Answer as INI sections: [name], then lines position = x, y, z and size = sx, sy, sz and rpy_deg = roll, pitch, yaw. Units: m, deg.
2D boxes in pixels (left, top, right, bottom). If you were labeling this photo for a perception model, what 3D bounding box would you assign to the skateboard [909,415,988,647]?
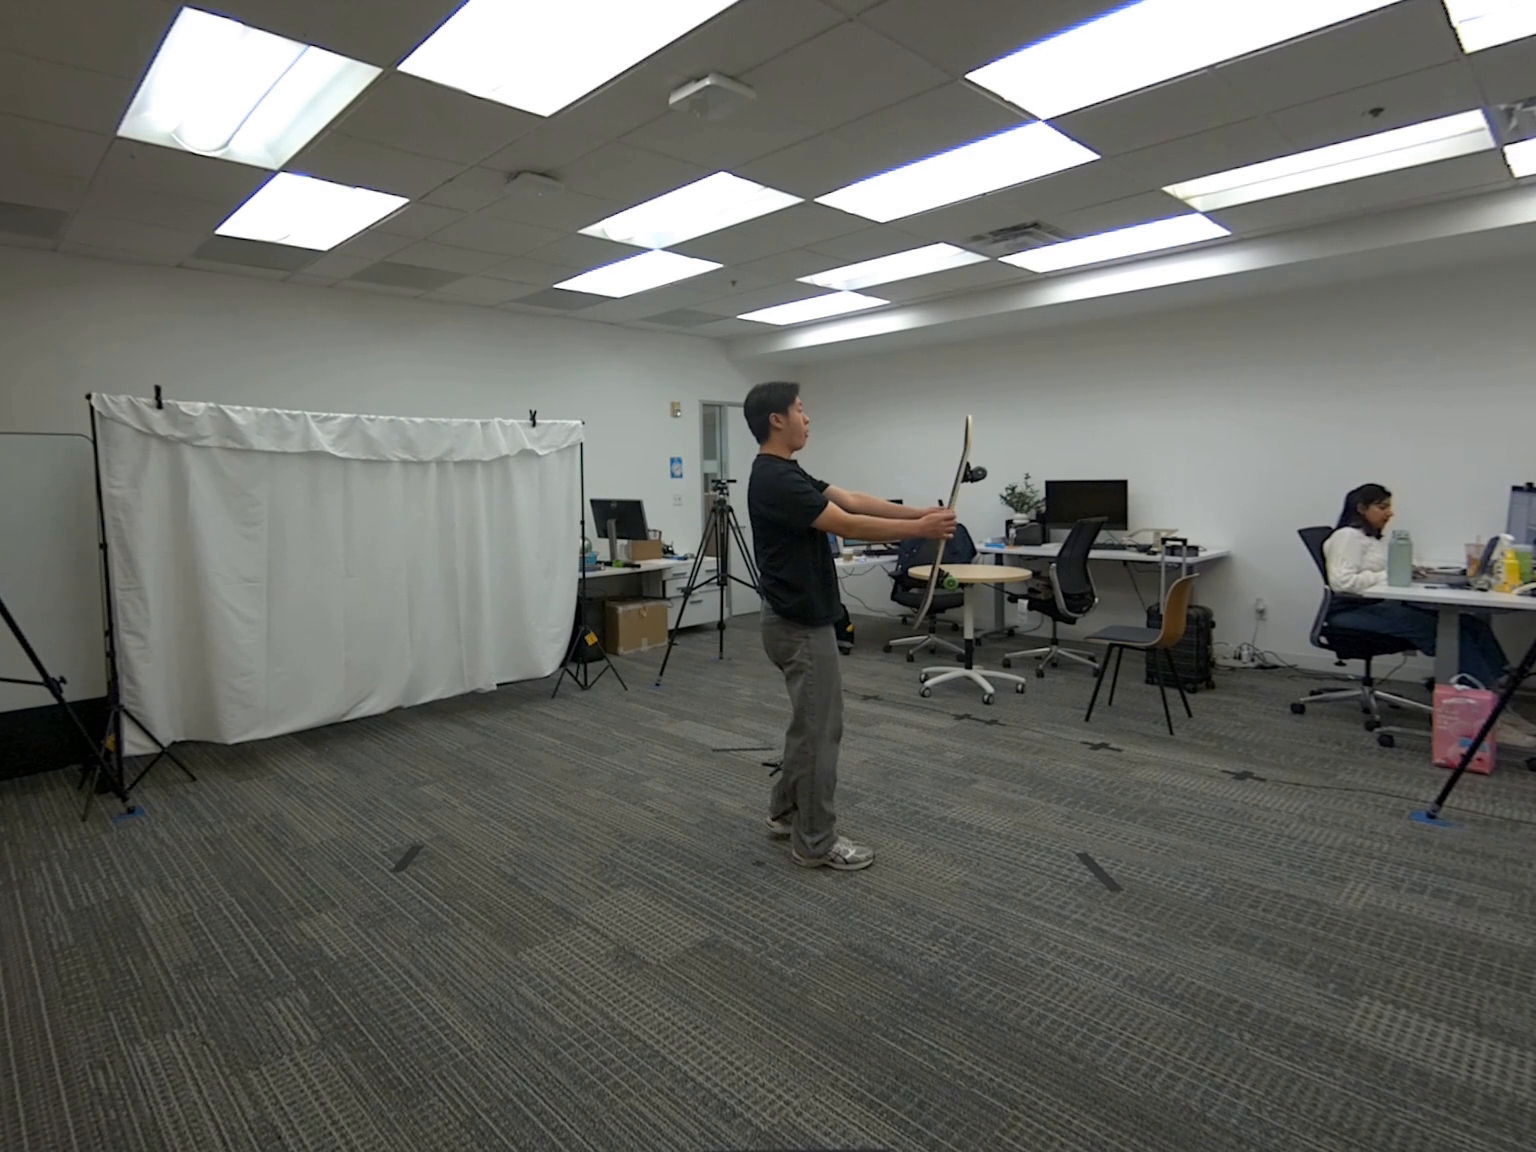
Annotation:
[skateboard]
position = 0.667, -0.172, 3.068
size = 0.111, 0.784, 0.192
rpy_deg = 14, 2, 6
